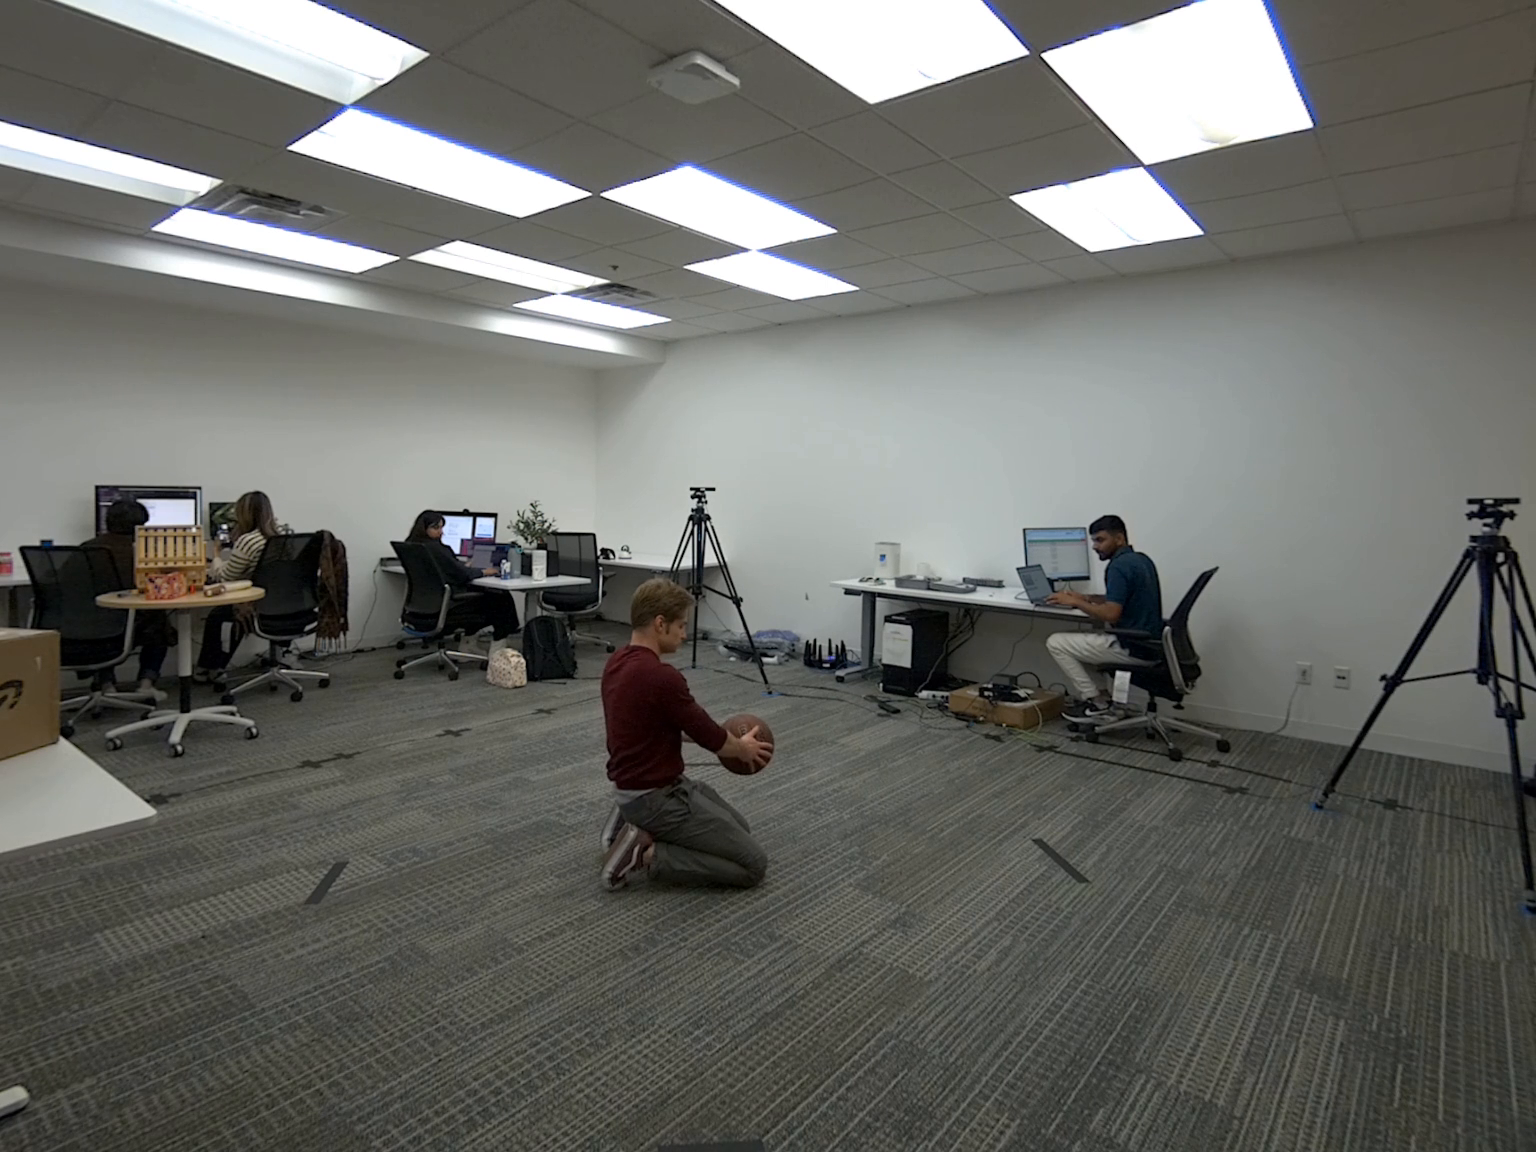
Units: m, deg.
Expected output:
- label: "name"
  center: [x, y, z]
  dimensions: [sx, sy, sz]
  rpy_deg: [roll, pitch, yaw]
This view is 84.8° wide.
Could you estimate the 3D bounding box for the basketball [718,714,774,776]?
- label: "basketball"
  center: [-0.116, 0.678, 3.413]
  dimensions: [0.235, 0.235, 0.237]
  rpy_deg: [1, 4, -2]
